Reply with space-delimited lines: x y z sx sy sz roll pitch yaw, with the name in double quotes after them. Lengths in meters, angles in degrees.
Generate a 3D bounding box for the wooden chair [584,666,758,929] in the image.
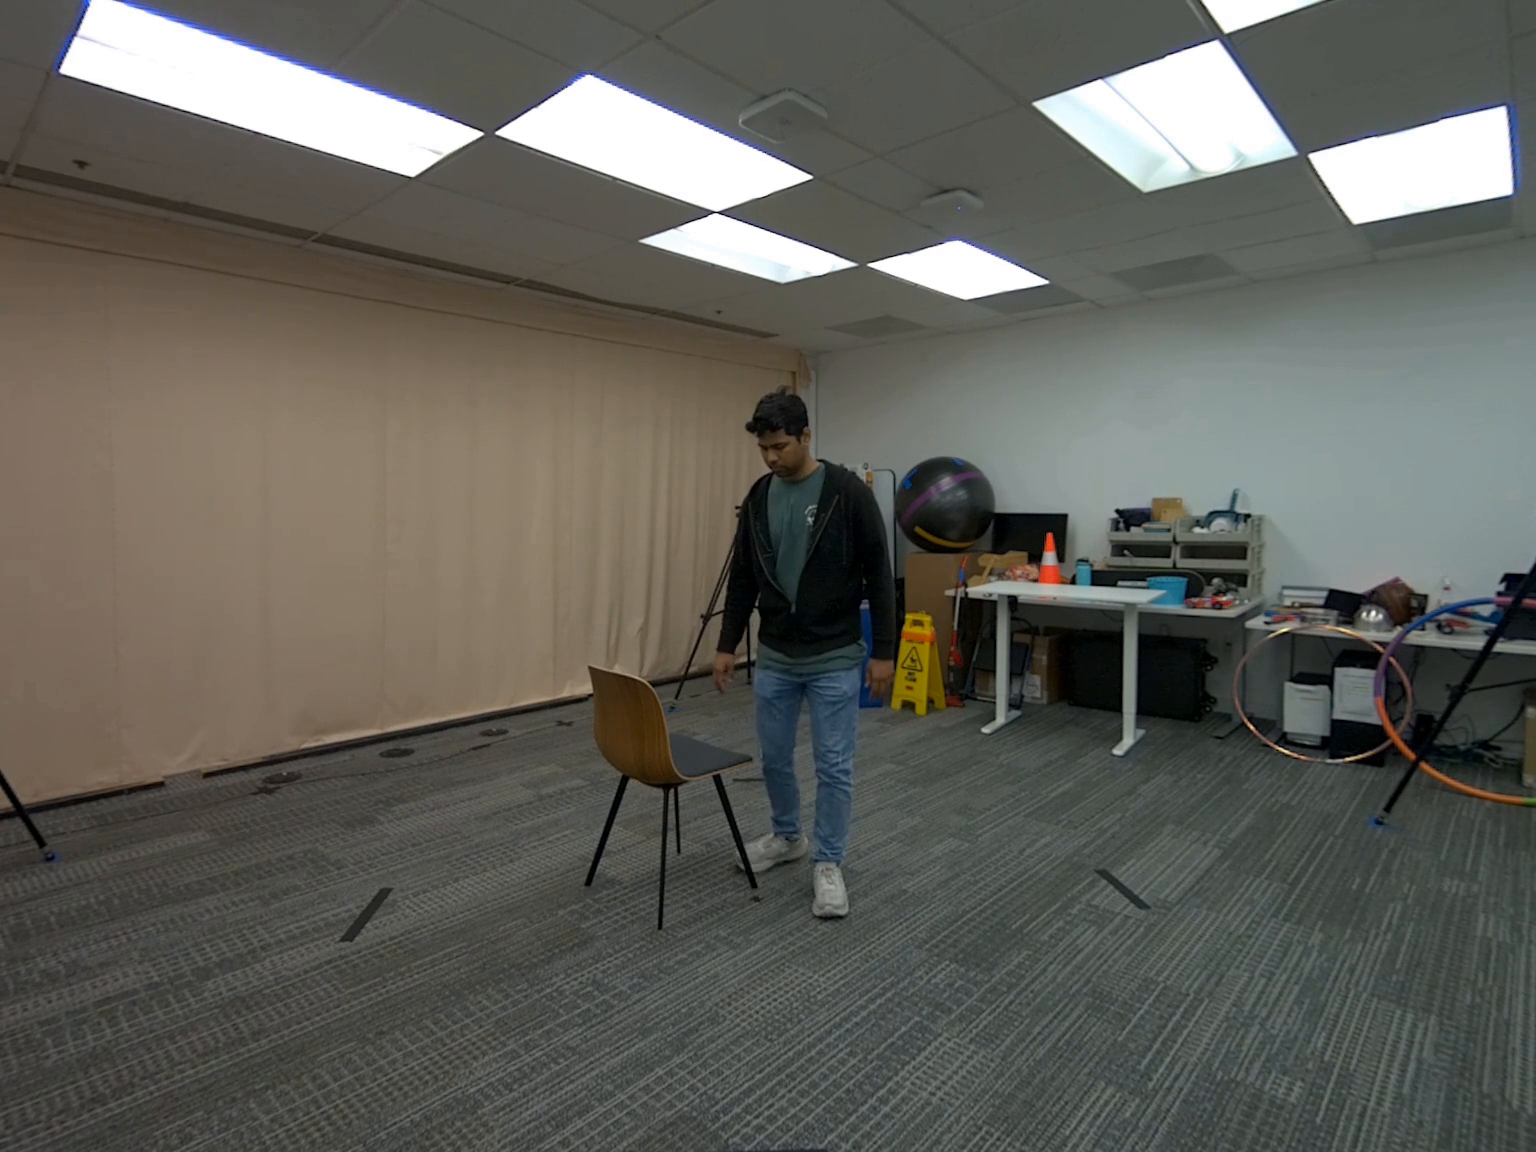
-0.351 0.716 3.055 0.508 0.874 0.494 -9 8 -43 "wooden chair"
